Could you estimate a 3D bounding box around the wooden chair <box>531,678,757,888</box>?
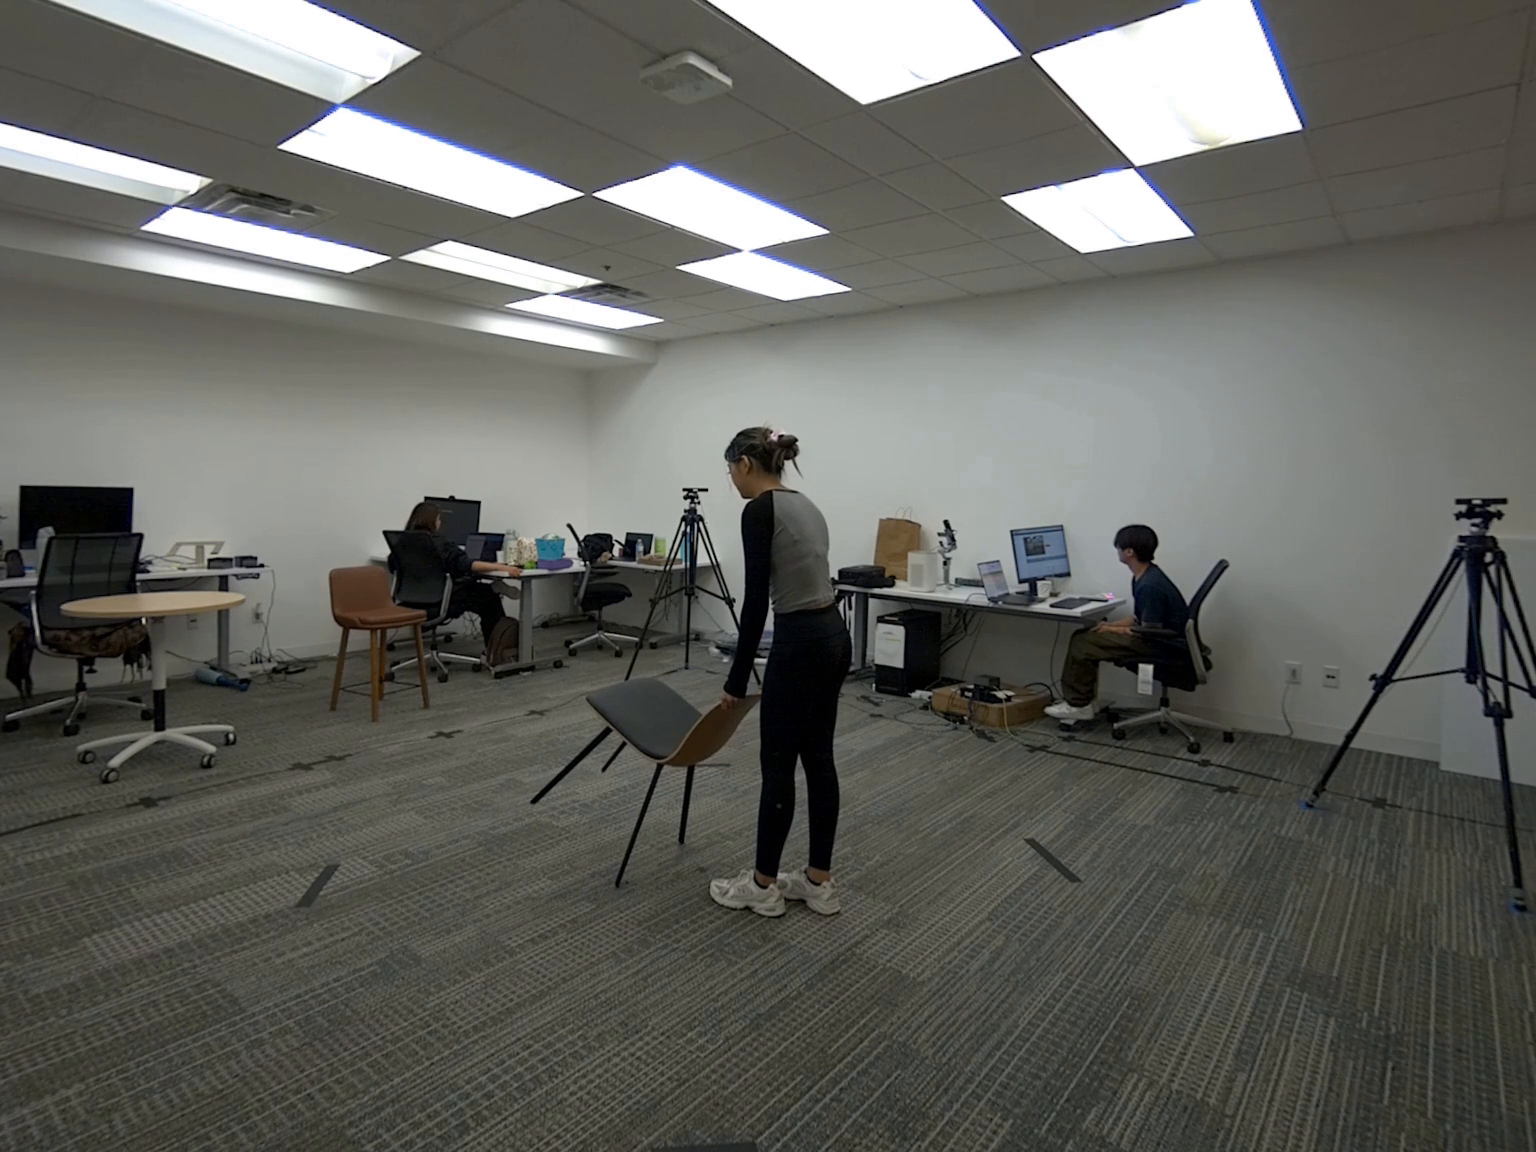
[{"bbox_3d":[-0.422,0.580,3.114,0.539,0.874,0.466,41,19,21],"label":"wooden chair"}]
